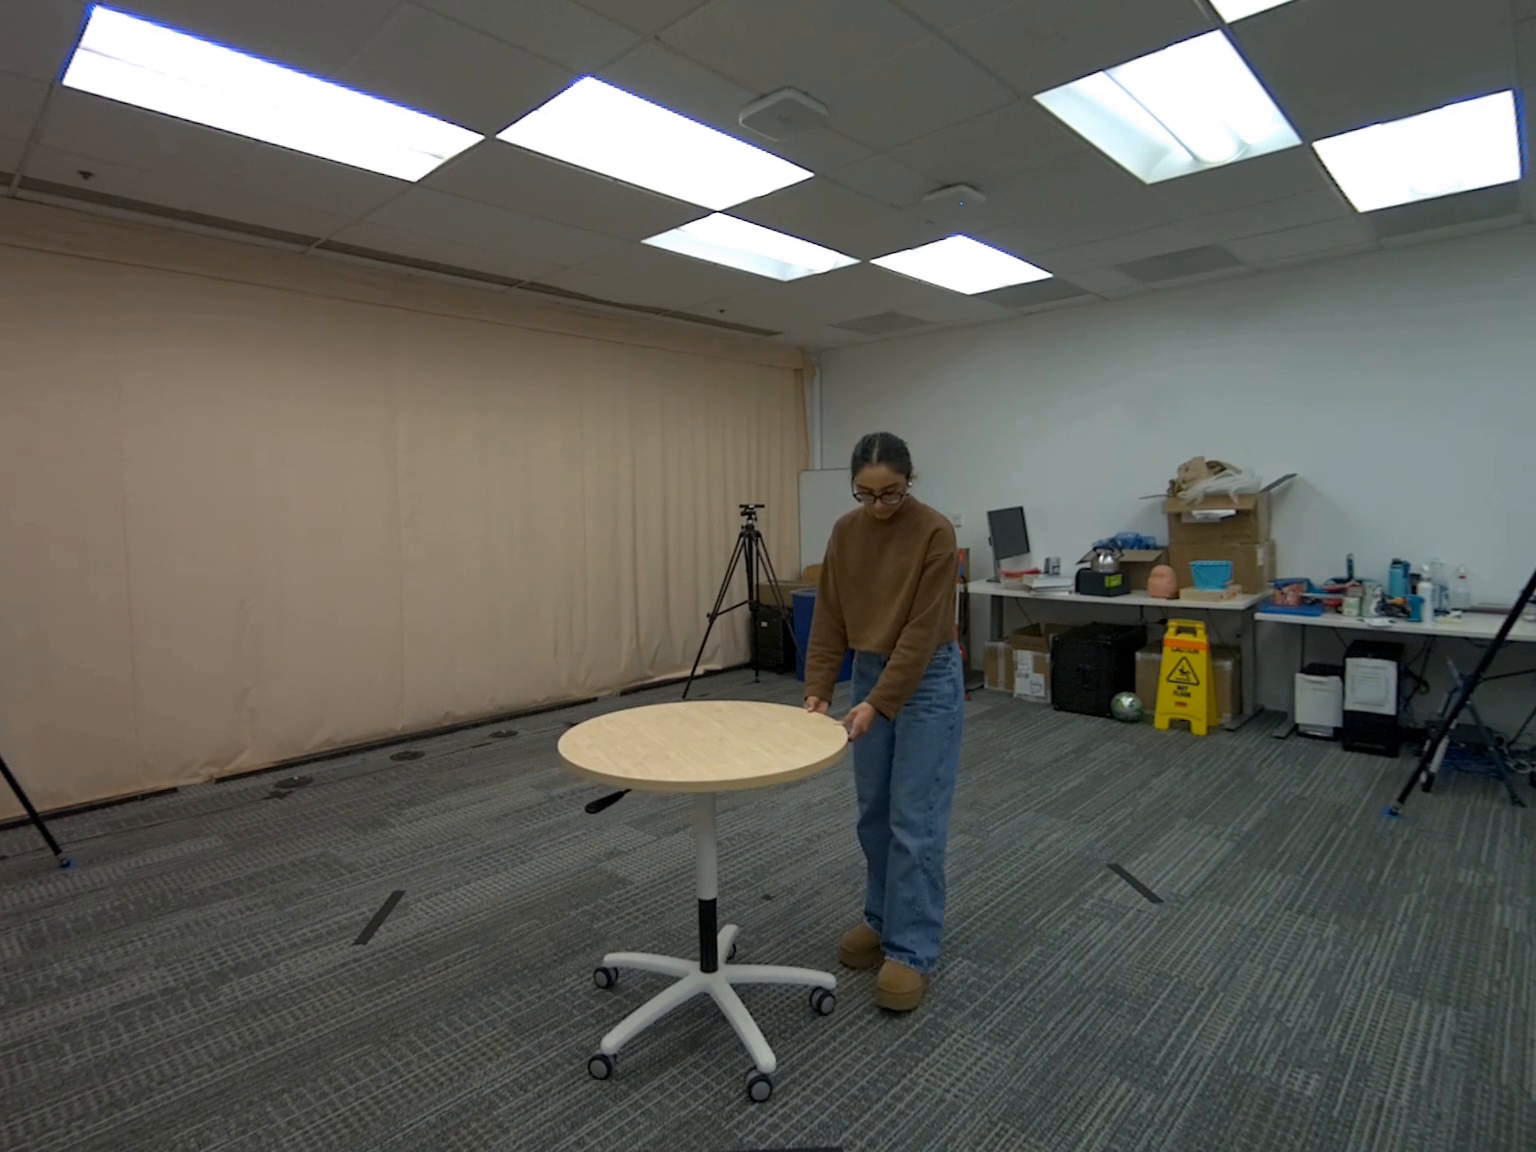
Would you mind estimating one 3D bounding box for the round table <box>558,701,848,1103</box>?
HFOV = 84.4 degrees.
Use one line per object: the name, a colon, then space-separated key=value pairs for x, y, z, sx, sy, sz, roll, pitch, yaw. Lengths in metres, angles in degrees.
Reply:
round table: x=-0.165 y=0.817 z=2.267 sx=0.763 sy=0.792 sz=0.767 roll=-2 pitch=4 yaw=-2
